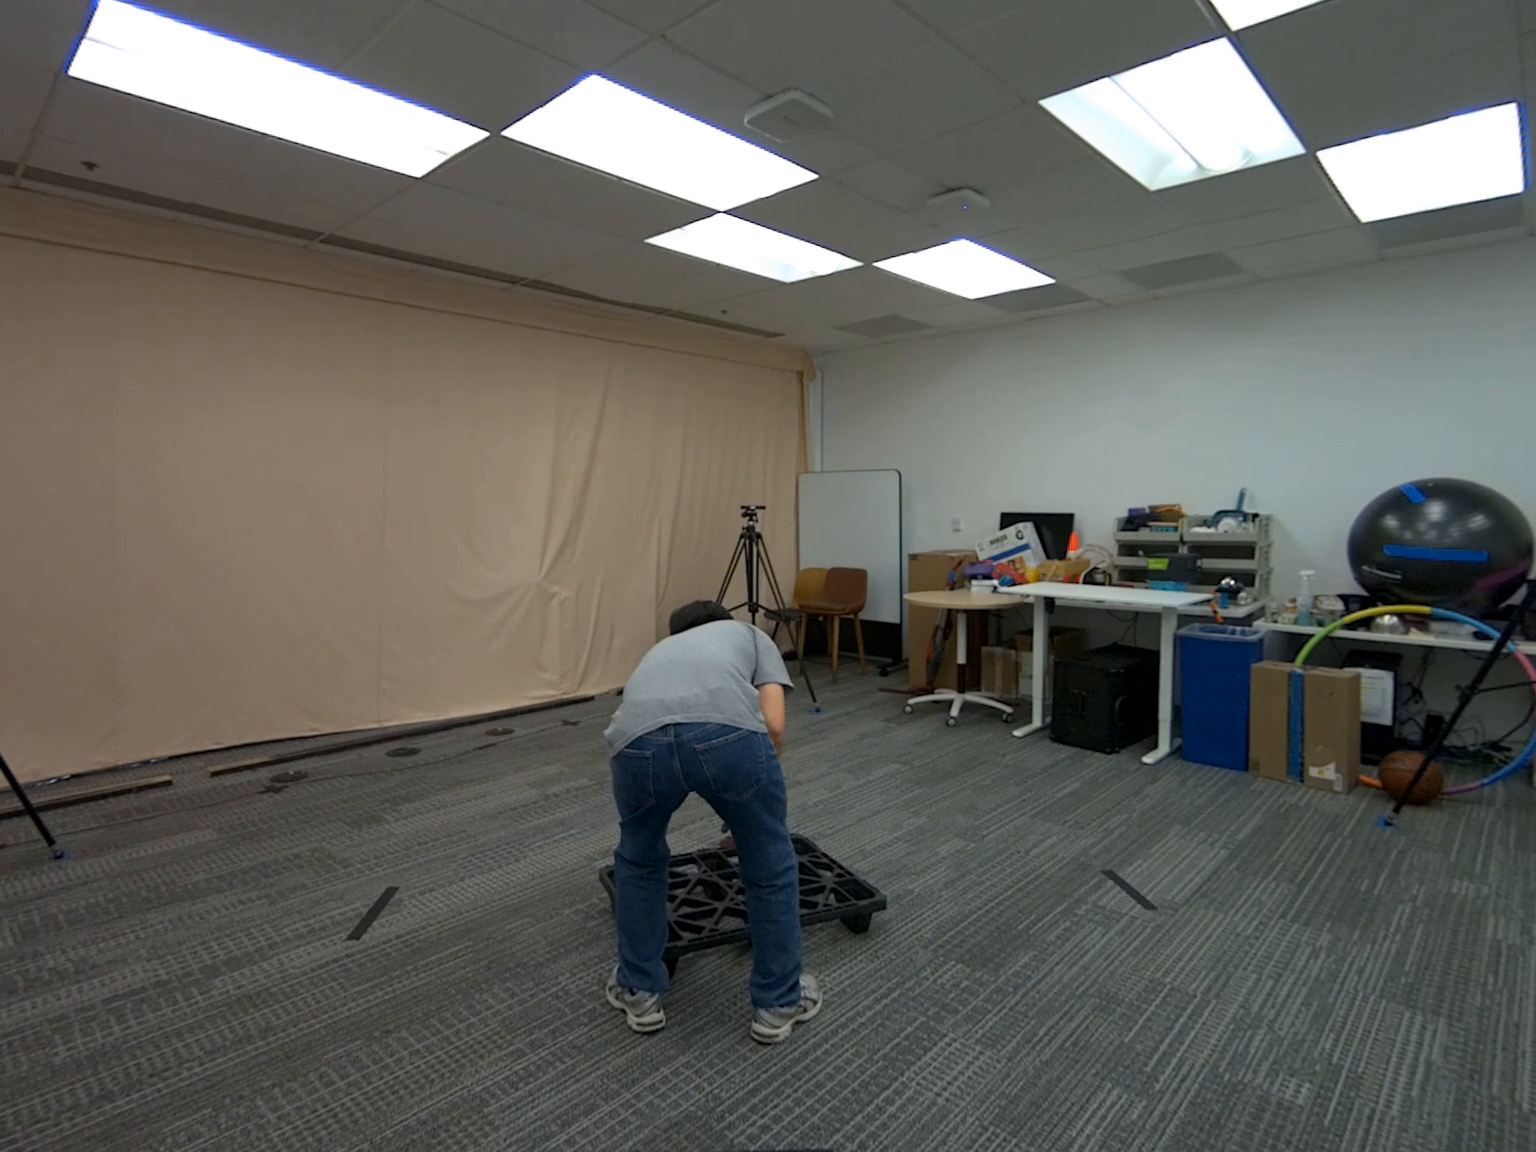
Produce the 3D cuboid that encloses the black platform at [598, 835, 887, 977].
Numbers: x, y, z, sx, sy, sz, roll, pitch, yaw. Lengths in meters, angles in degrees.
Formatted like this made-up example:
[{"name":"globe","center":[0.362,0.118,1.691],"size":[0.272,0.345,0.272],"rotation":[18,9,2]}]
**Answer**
[{"name":"black platform","center":[-0.100,1.091,2.817],"size":[0.787,0.143,0.621],"rotation":[-2,4,-25]}]
